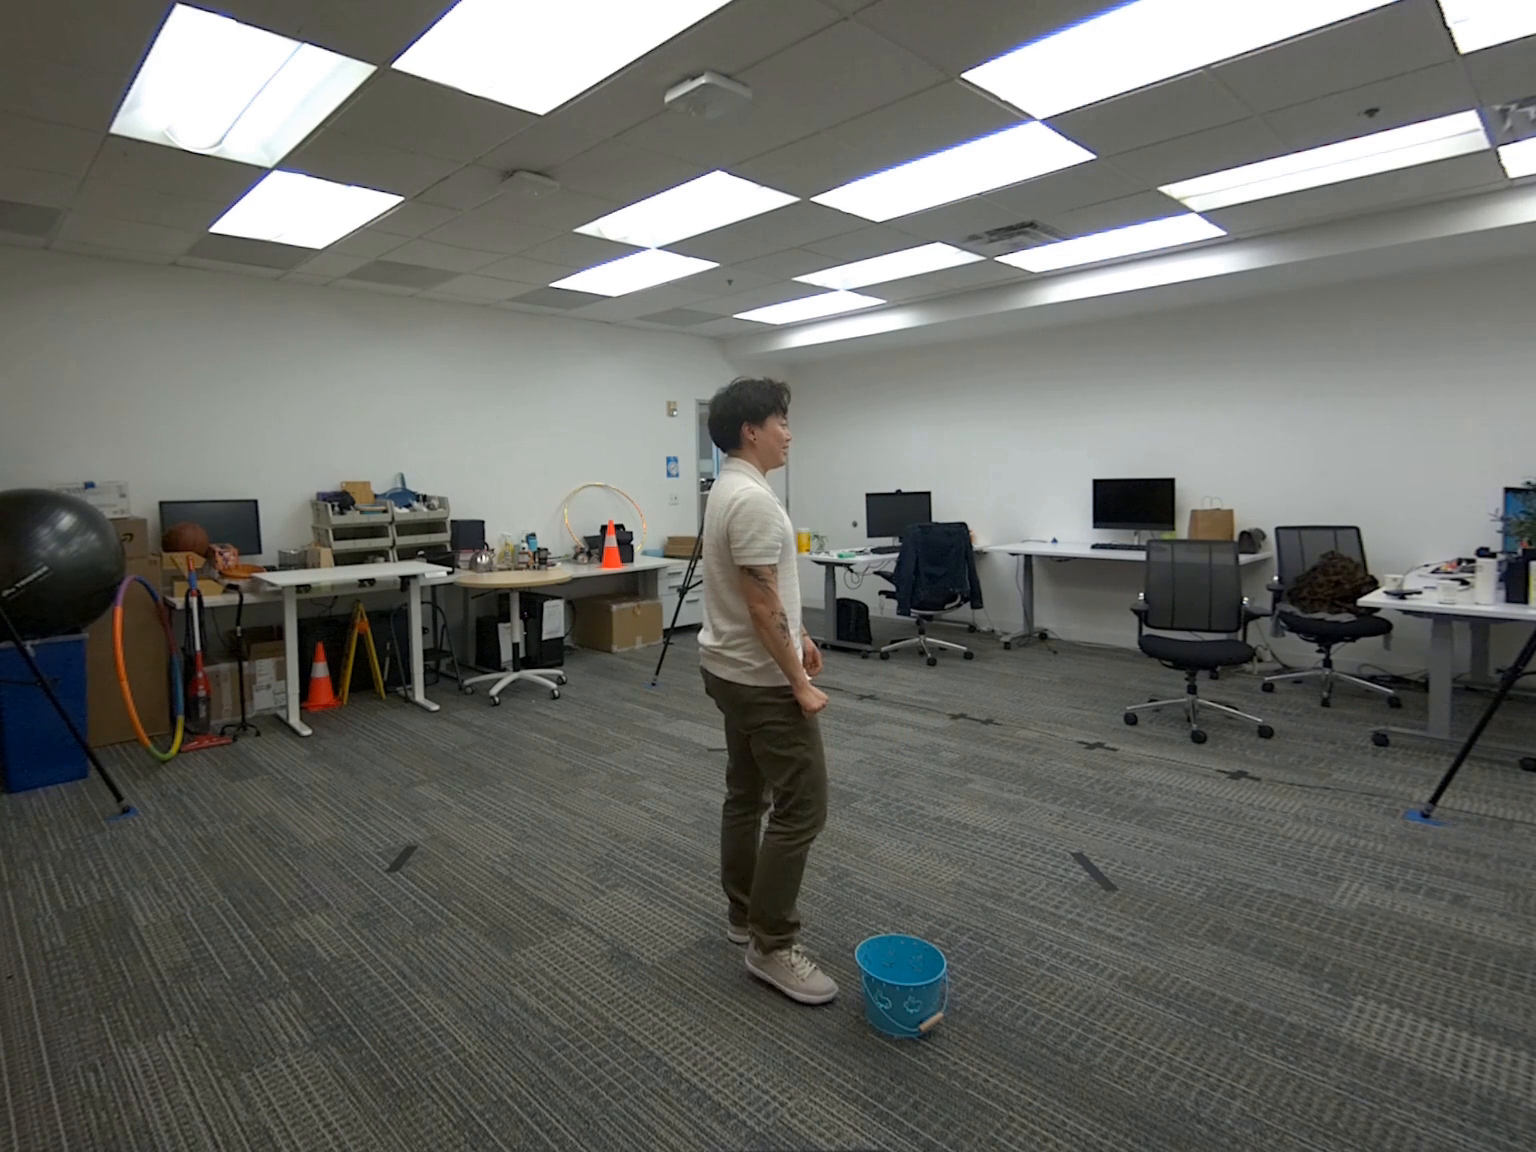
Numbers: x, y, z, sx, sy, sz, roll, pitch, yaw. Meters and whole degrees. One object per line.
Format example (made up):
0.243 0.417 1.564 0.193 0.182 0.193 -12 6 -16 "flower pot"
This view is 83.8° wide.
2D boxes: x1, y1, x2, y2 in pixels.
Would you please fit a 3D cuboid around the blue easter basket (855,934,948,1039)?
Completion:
0.349 1.067 2.206 0.243 0.155 0.245 -1 5 -2 "blue easter basket"
